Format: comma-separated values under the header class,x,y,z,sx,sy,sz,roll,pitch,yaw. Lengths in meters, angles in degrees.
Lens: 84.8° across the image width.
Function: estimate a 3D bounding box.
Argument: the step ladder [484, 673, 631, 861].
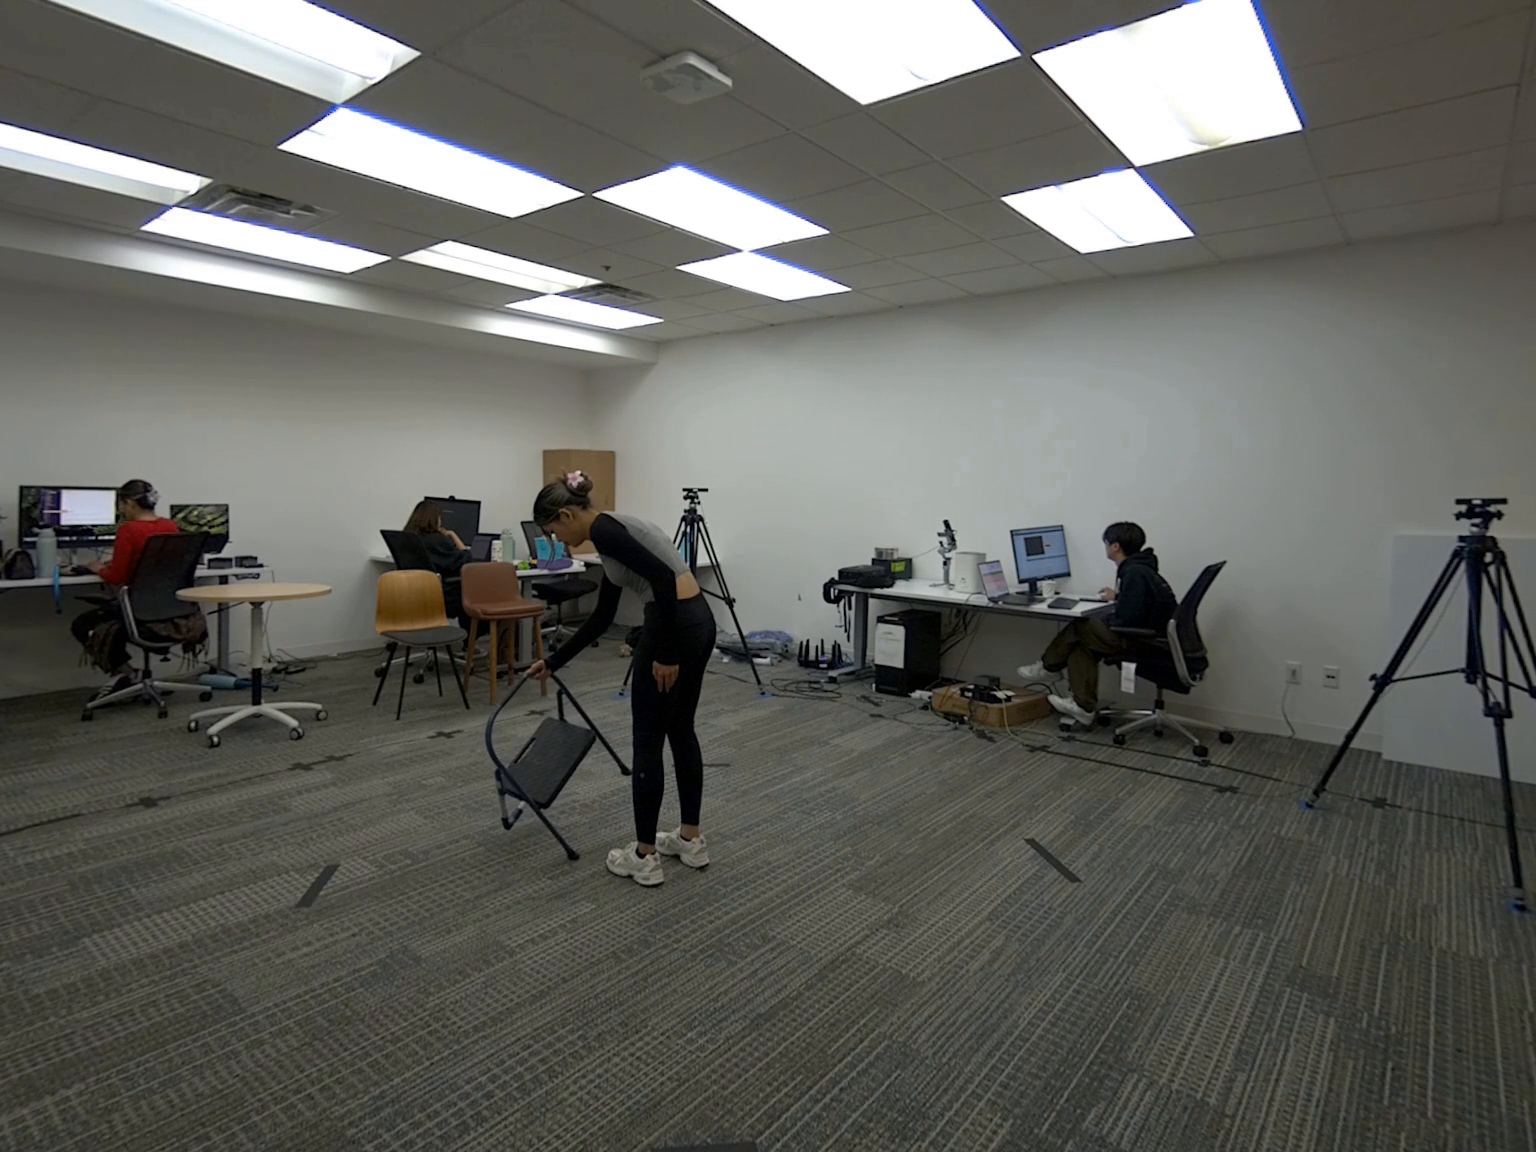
class,x,y,z,sx,sy,sz,roll,pitch,yaw
step ladder,-0.843,0.663,3.205,0.359,0.586,0.433,9,42,24
